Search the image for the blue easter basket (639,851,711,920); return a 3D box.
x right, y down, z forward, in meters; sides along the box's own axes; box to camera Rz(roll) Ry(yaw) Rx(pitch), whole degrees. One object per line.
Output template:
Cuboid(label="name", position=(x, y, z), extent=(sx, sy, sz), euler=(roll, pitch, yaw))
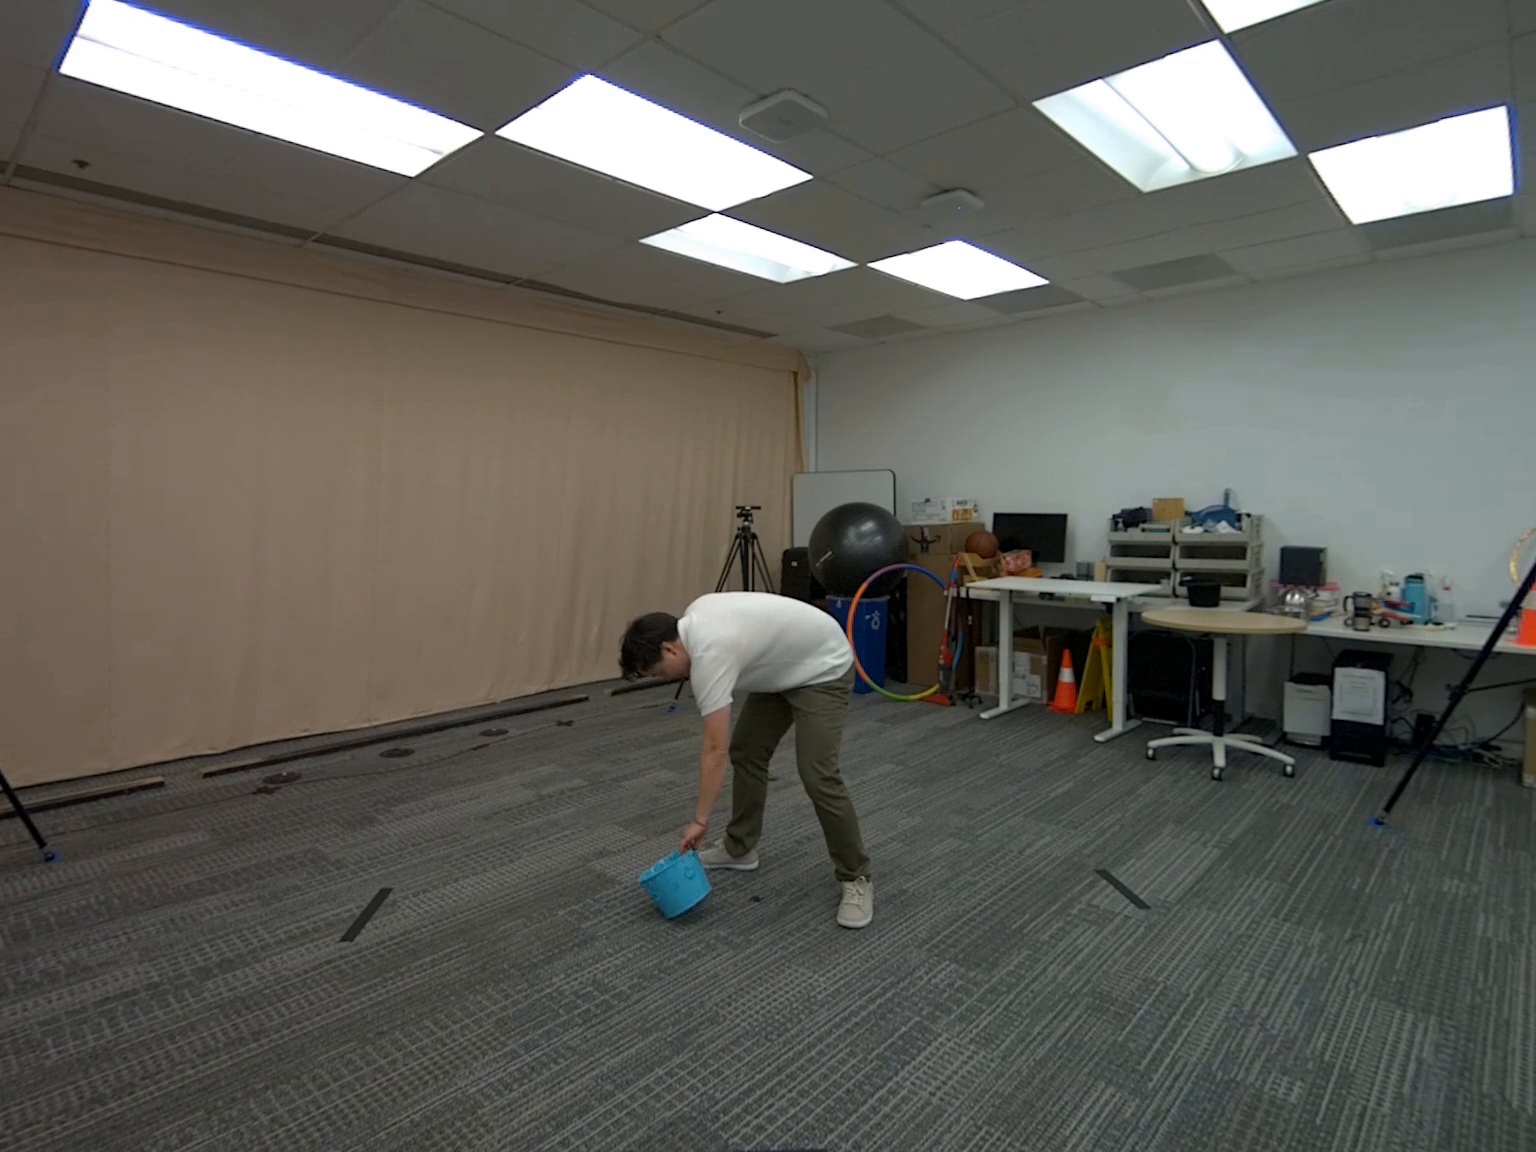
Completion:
Cuboid(label="blue easter basket", position=(-0.302, 1.044, 2.861), extent=(0.242, 0.158, 0.241), euler=(-29, -11, -9))
